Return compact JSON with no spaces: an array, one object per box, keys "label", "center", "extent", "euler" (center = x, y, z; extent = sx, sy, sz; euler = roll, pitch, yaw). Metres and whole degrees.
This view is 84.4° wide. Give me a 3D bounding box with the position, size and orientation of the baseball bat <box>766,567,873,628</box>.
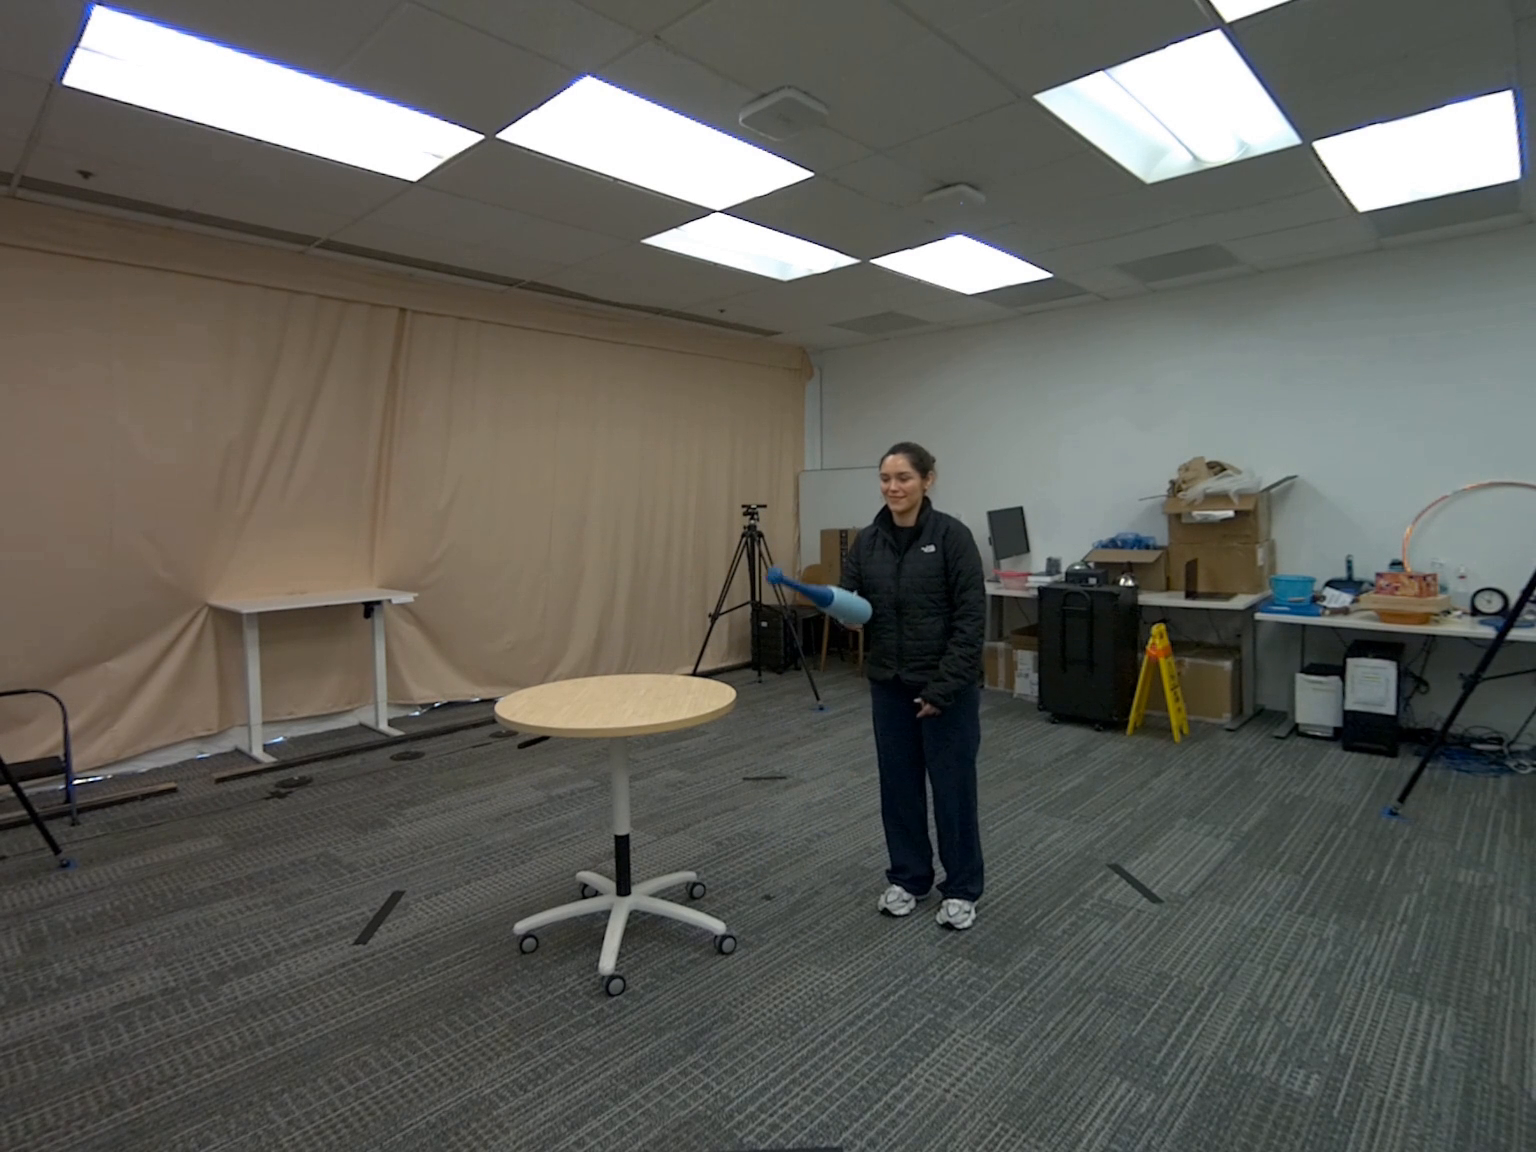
[{"label":"baseball bat","center":[0.180,0.087,2.452],"extent":[0.092,0.089,0.524],"euler":[2,-11,35]}]
